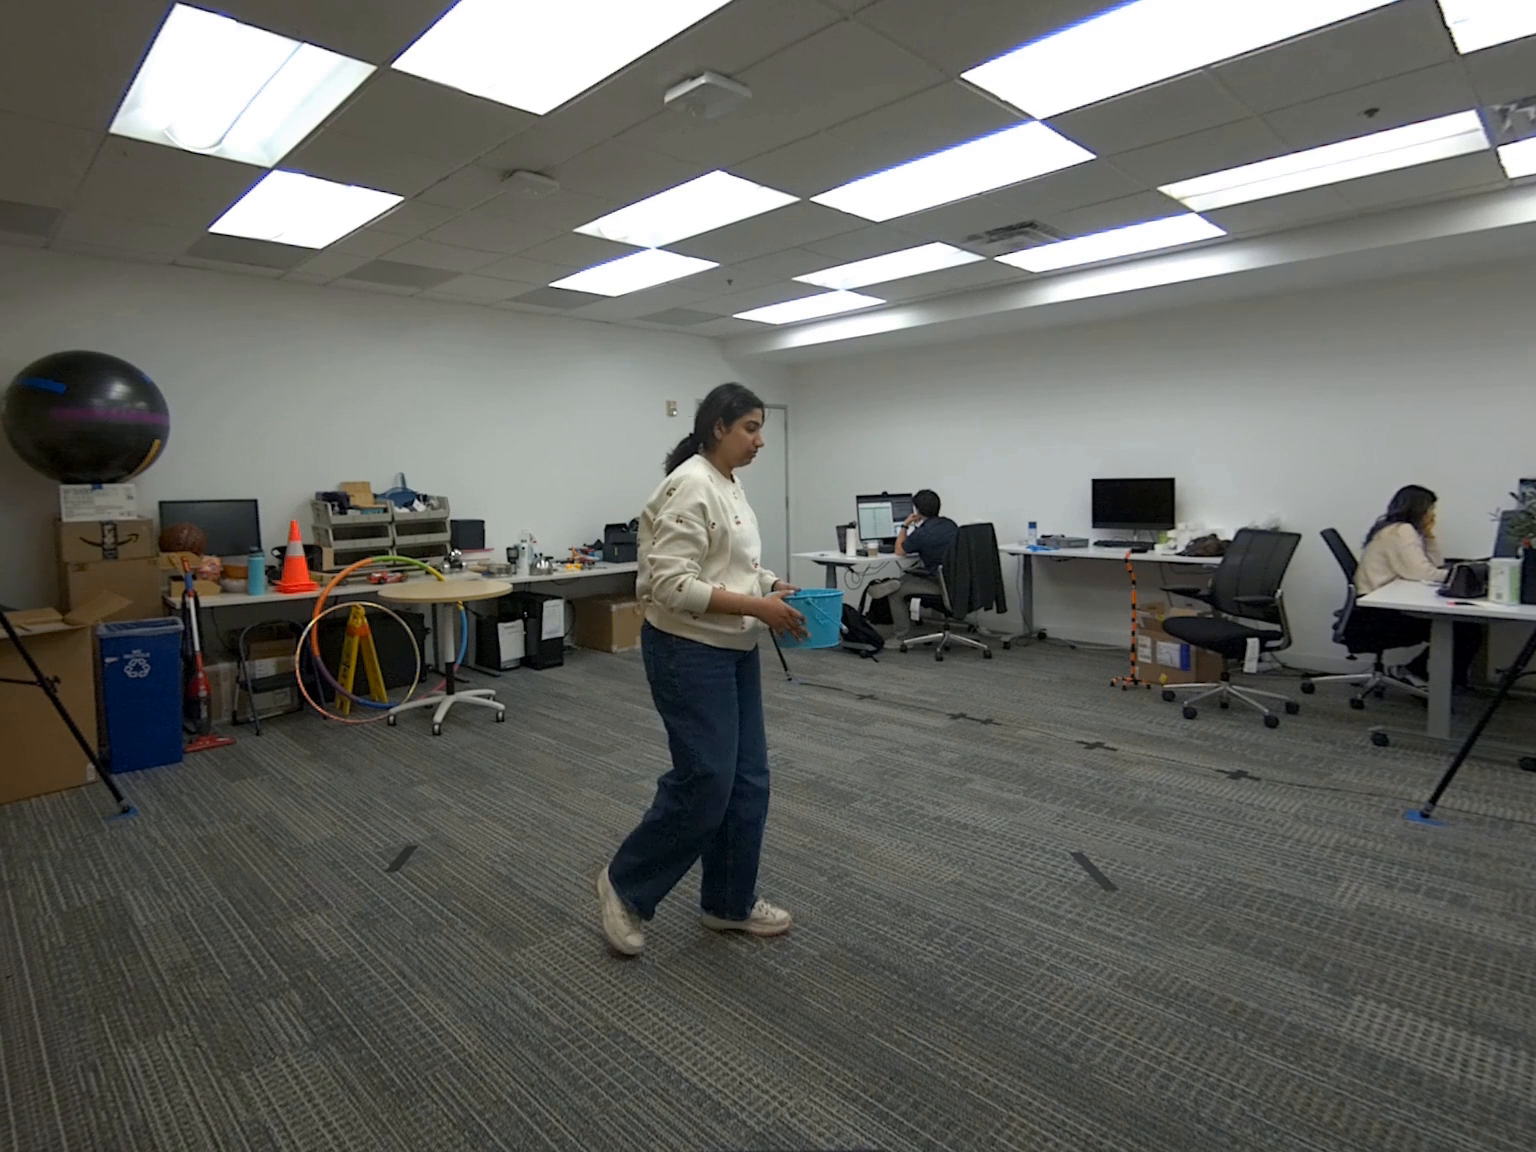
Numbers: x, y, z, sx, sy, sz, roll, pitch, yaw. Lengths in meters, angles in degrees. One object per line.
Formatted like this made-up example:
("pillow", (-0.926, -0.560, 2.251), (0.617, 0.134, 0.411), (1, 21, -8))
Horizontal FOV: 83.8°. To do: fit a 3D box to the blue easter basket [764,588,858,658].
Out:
("blue easter basket", (0.115, 0.131, 2.503), (0.243, 0.155, 0.244), (-3, 4, -1))
